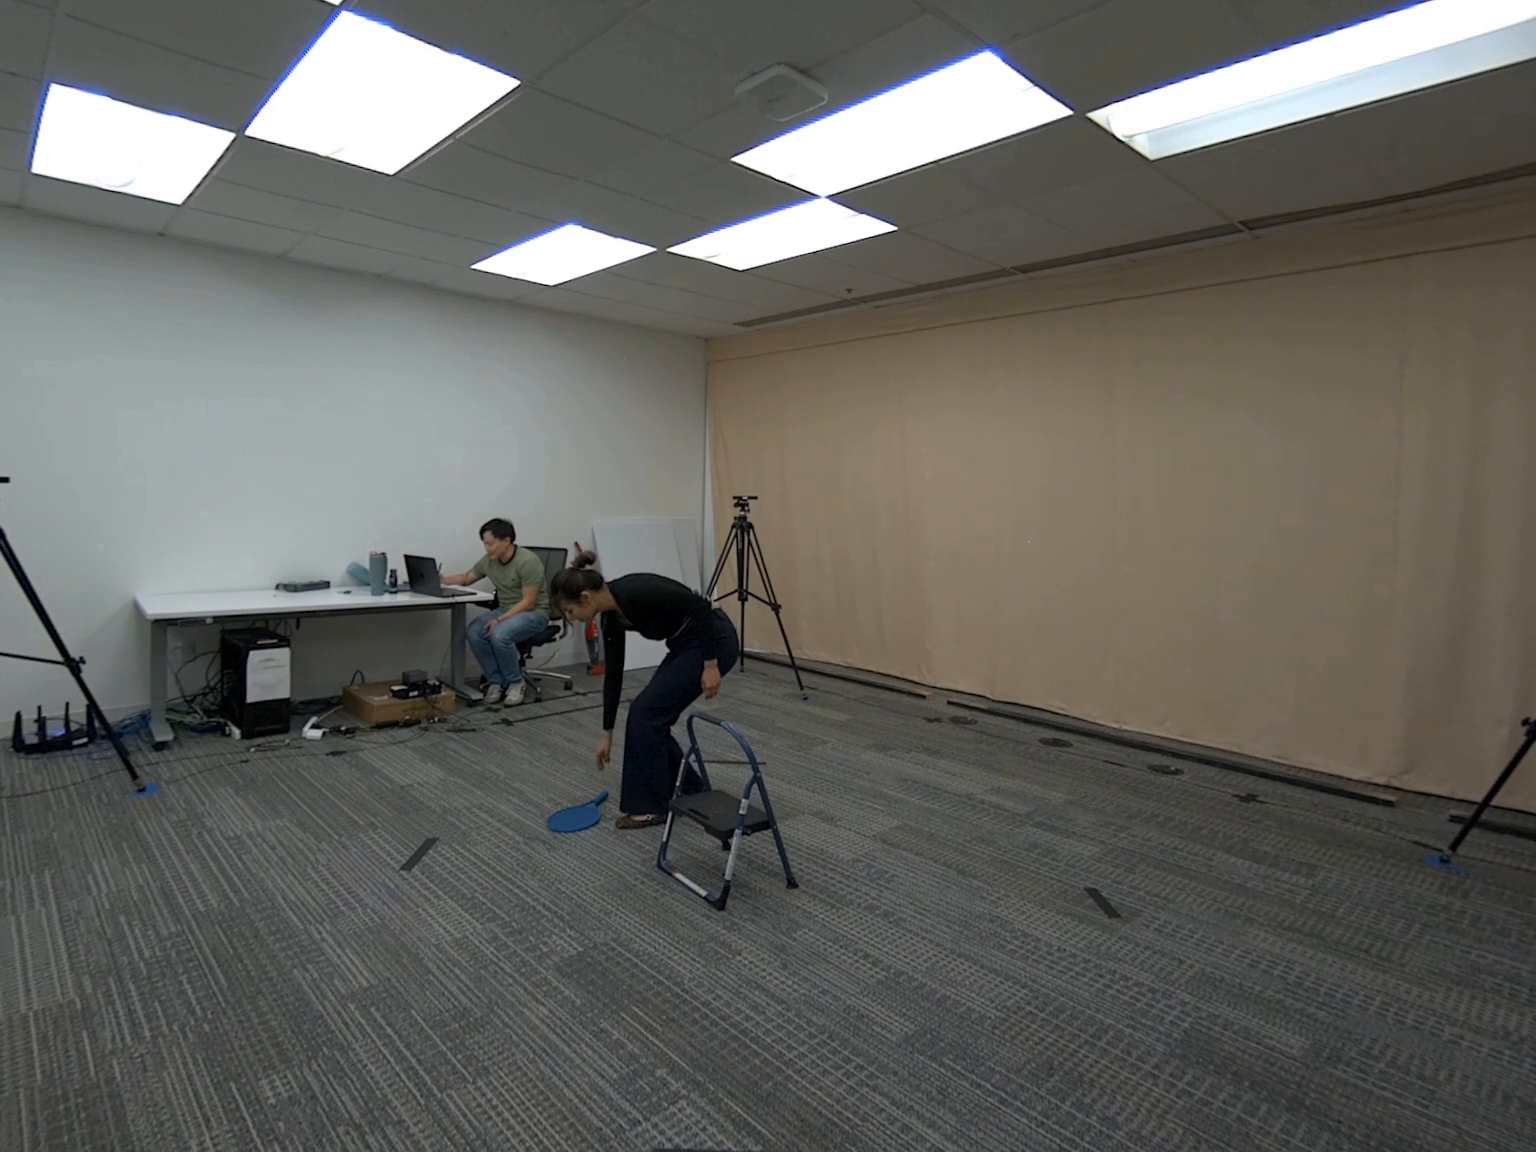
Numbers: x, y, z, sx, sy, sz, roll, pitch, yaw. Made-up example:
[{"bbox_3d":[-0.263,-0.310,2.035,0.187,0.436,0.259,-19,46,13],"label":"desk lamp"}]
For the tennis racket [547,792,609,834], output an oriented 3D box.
[{"bbox_3d":[-0.816,1.025,3.663,0.216,0.031,0.429,2,7,15],"label":"tennis racket"}]
